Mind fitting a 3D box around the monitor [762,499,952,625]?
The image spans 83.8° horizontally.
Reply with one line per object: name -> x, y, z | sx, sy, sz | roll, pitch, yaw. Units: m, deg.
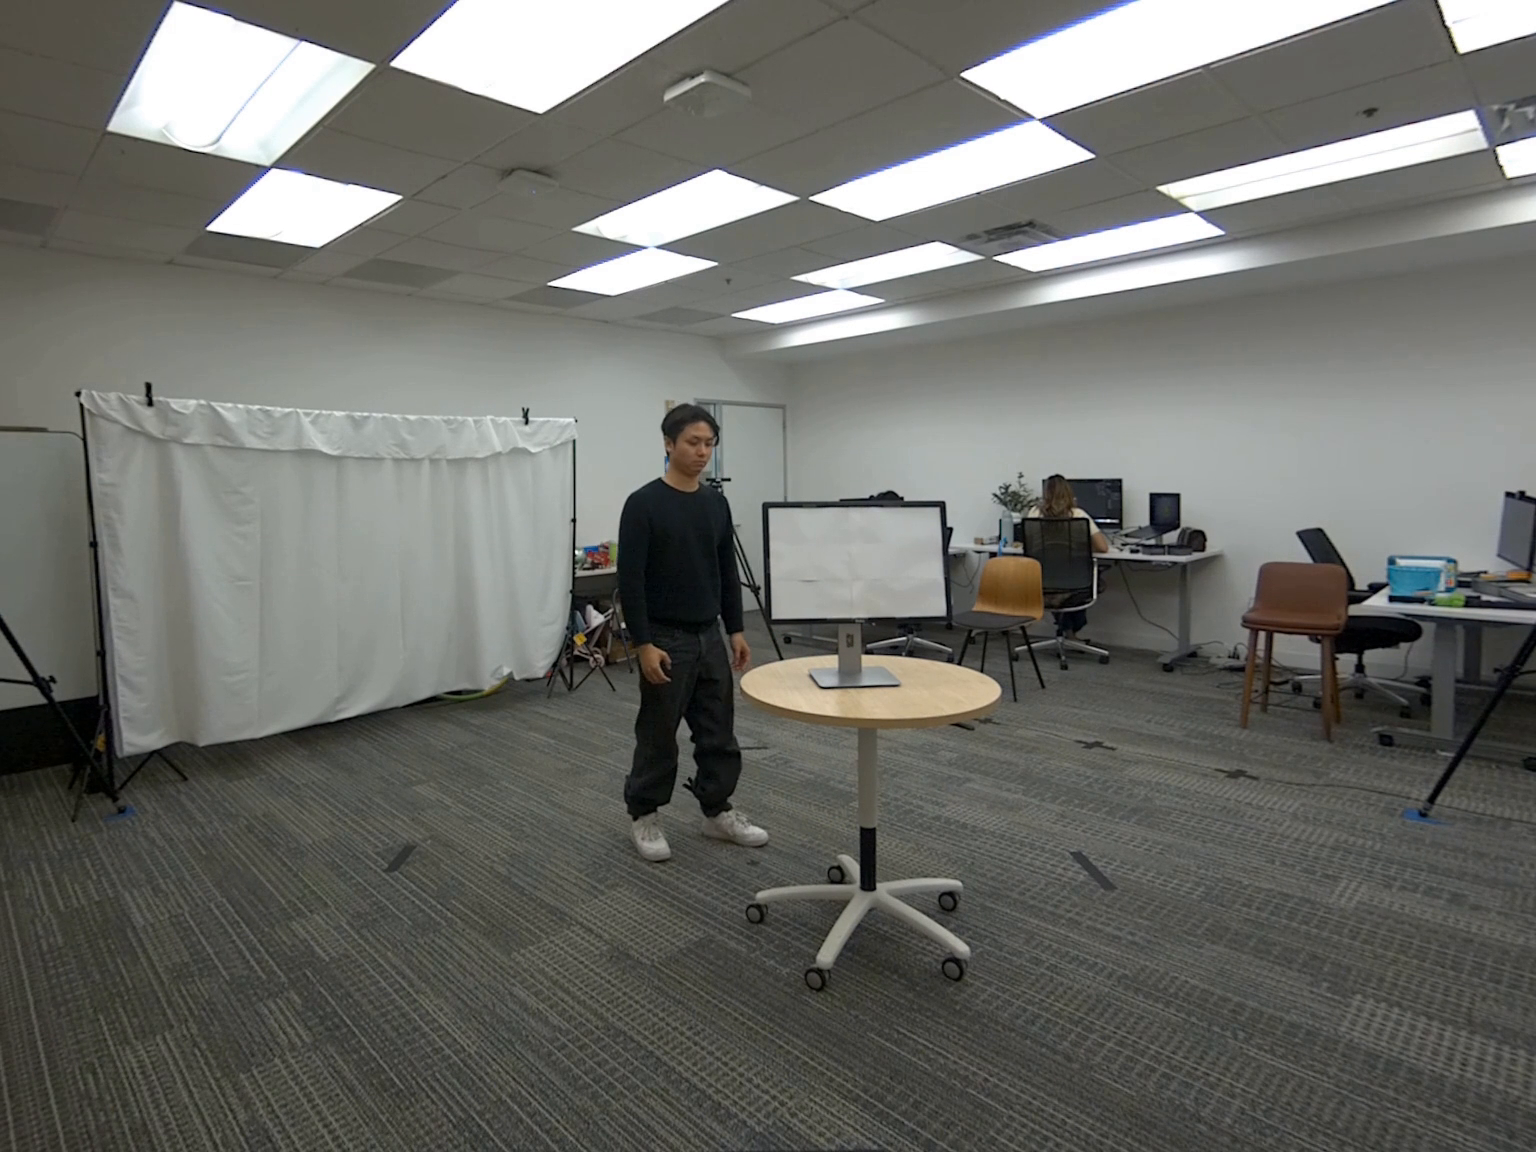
monitor -> 0.256, 0.049, 2.579 | 0.527, 0.512, 0.177 | -1, 7, -6
